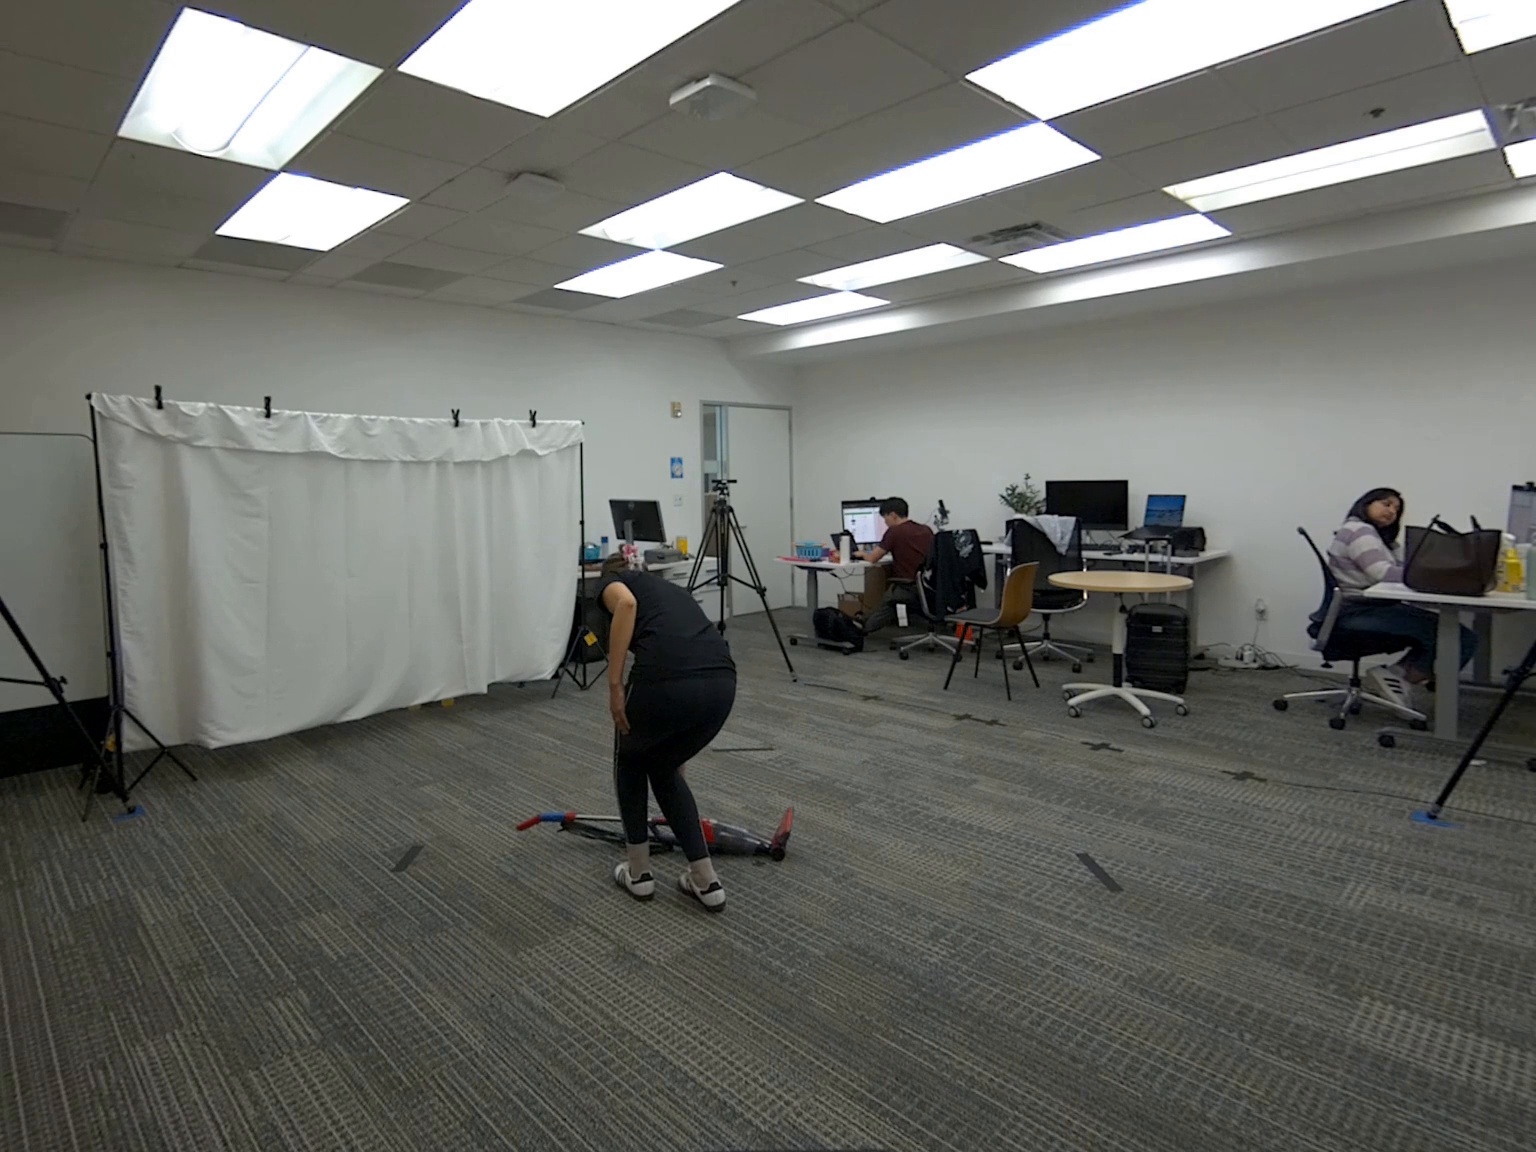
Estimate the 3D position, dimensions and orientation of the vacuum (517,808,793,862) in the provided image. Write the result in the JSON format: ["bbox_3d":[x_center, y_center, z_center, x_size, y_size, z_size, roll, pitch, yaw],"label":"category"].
[{"bbox_3d":[-0.451,0.966,3.241,1.055,0.144,0.252,0,4,6],"label":"vacuum"}]
